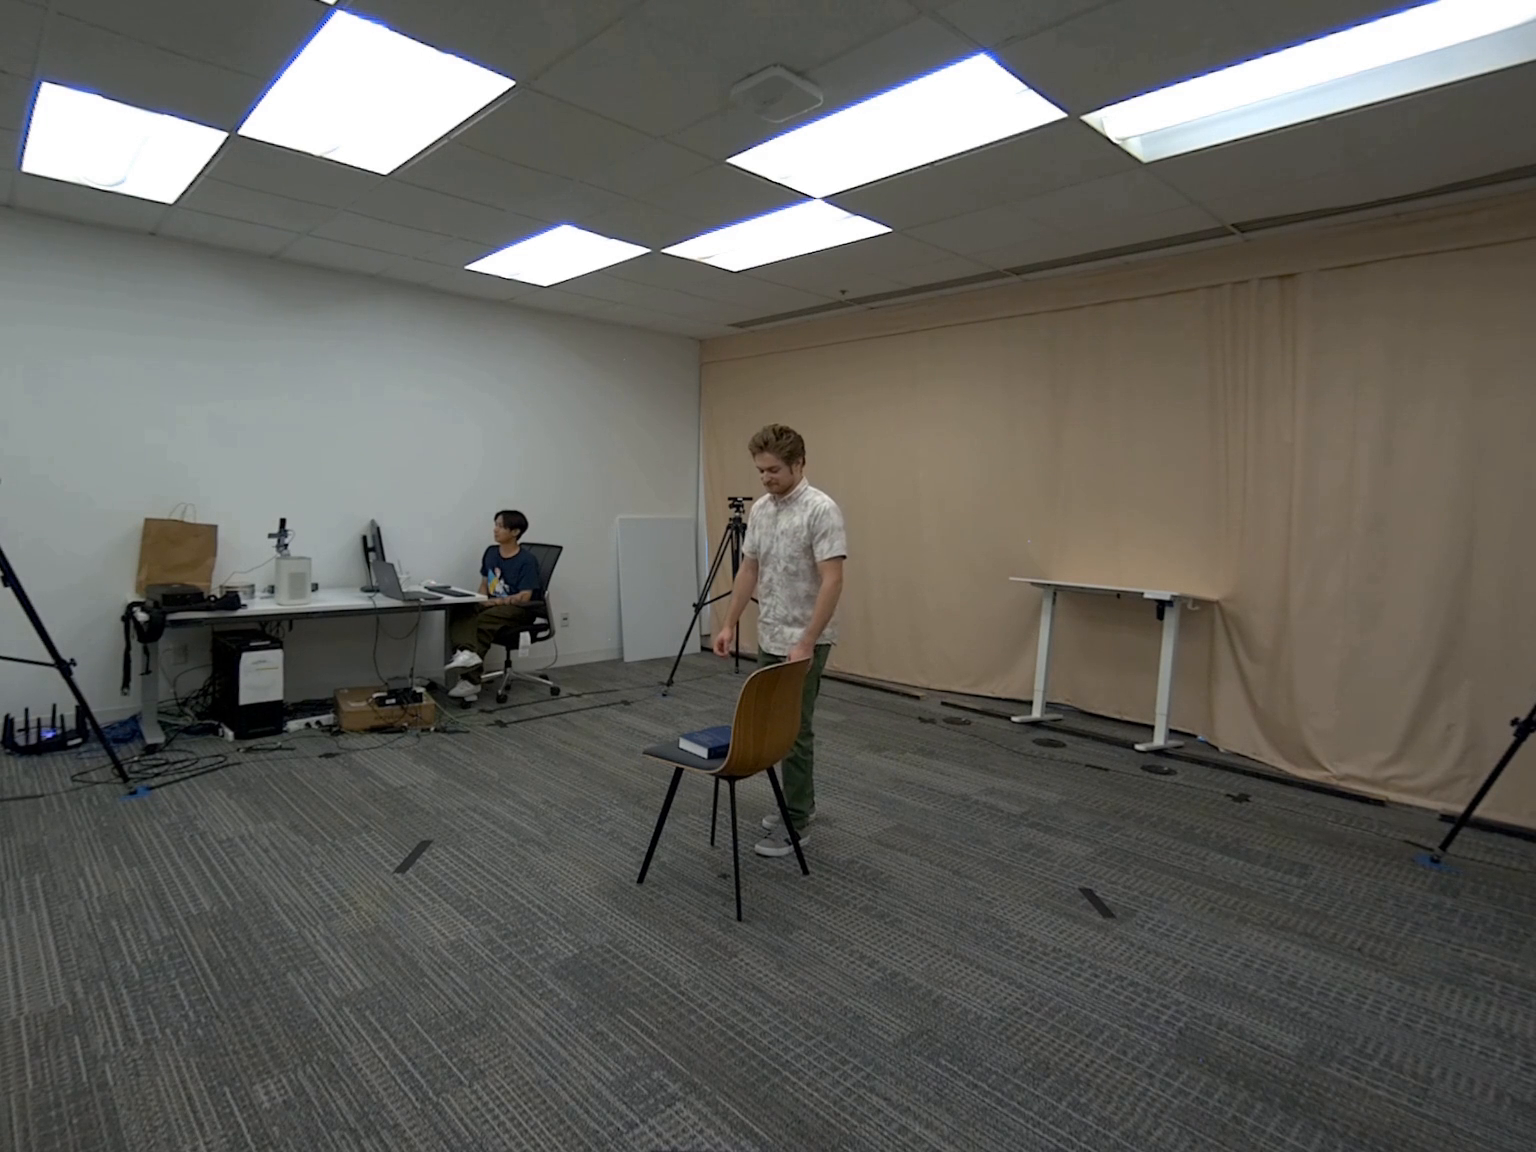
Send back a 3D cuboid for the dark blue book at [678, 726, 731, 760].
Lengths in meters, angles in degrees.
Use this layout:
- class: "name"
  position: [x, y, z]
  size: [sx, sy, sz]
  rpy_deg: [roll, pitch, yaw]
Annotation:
- class: "dark blue book"
  position: [-0.185, 0.602, 3.066]
  size: [0.168, 0.045, 0.239]
  rpy_deg: [10, 9, 44]
